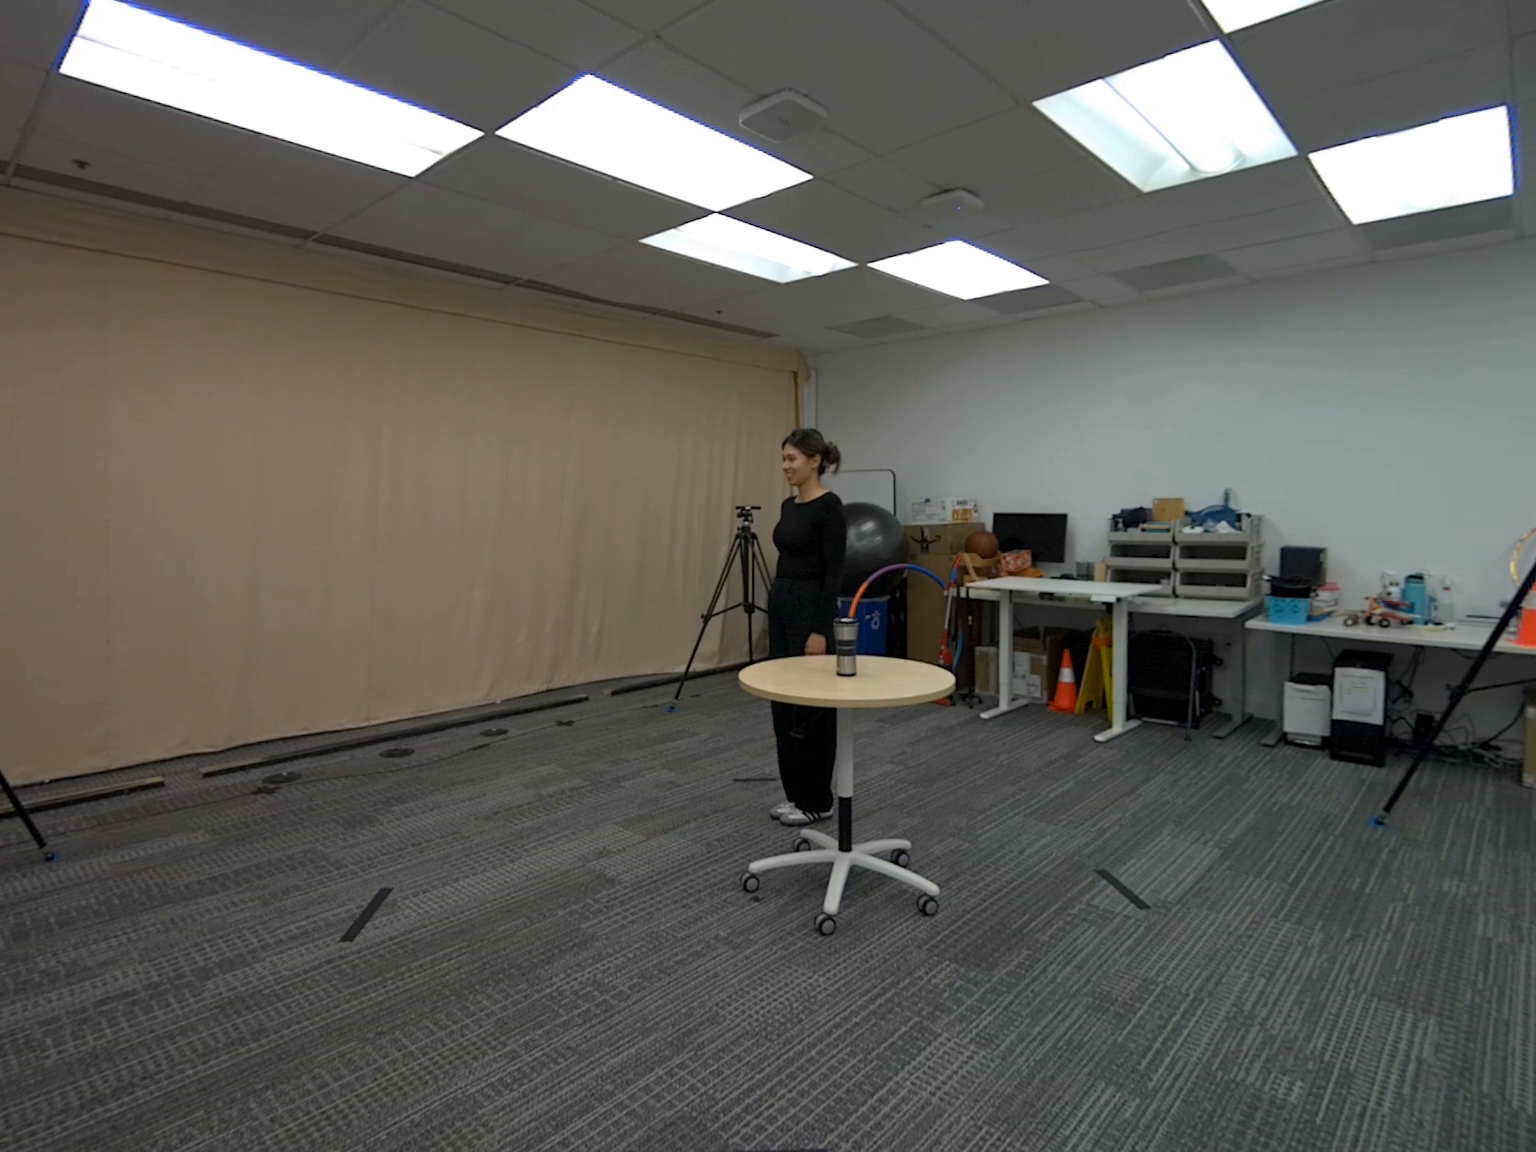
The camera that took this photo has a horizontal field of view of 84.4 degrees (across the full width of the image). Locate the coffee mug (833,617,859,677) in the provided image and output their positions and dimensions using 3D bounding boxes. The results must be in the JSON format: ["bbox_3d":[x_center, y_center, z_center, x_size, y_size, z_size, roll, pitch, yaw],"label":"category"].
[{"bbox_3d":[0.288,0.255,3.036,0.090,0.202,0.119,-5,4,40],"label":"coffee mug"}]
